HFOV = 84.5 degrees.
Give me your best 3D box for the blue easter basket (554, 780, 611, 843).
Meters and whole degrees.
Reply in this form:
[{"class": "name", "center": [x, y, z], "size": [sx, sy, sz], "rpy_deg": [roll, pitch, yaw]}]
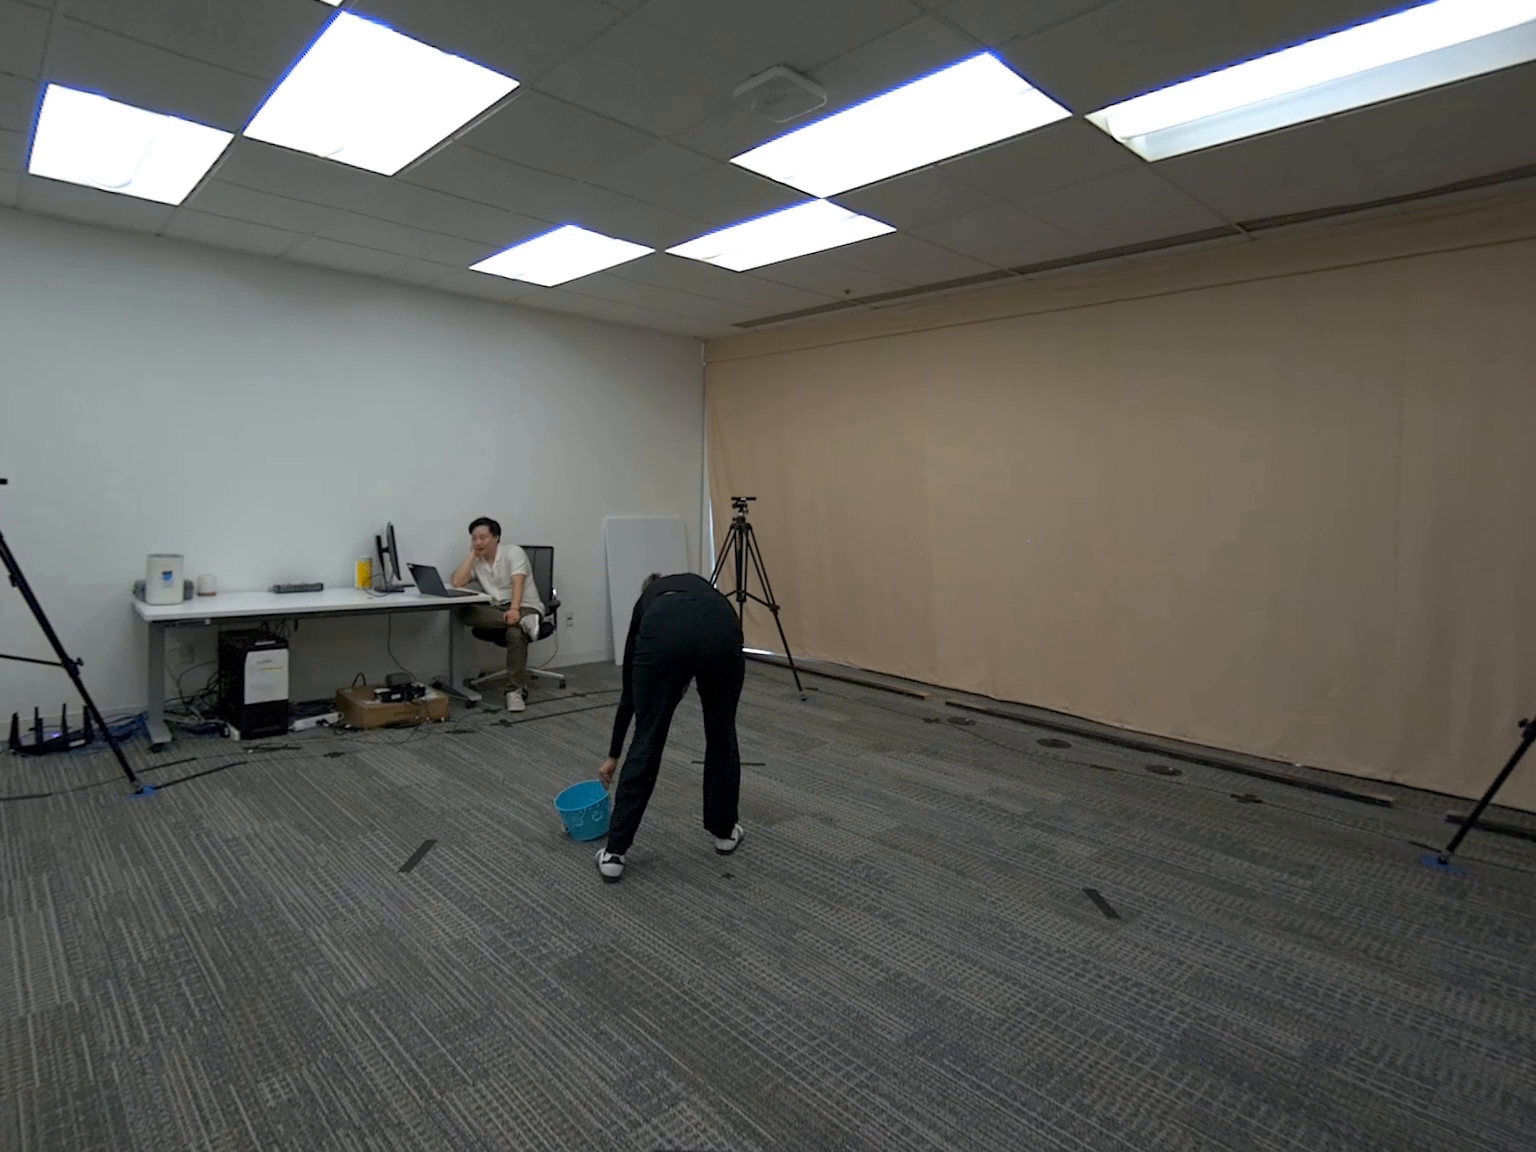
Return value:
[{"class": "blue easter basket", "center": [-0.739, 0.961, 3.444], "size": [0.244, 0.154, 0.246], "rpy_deg": [-10, 15, 1]}]
